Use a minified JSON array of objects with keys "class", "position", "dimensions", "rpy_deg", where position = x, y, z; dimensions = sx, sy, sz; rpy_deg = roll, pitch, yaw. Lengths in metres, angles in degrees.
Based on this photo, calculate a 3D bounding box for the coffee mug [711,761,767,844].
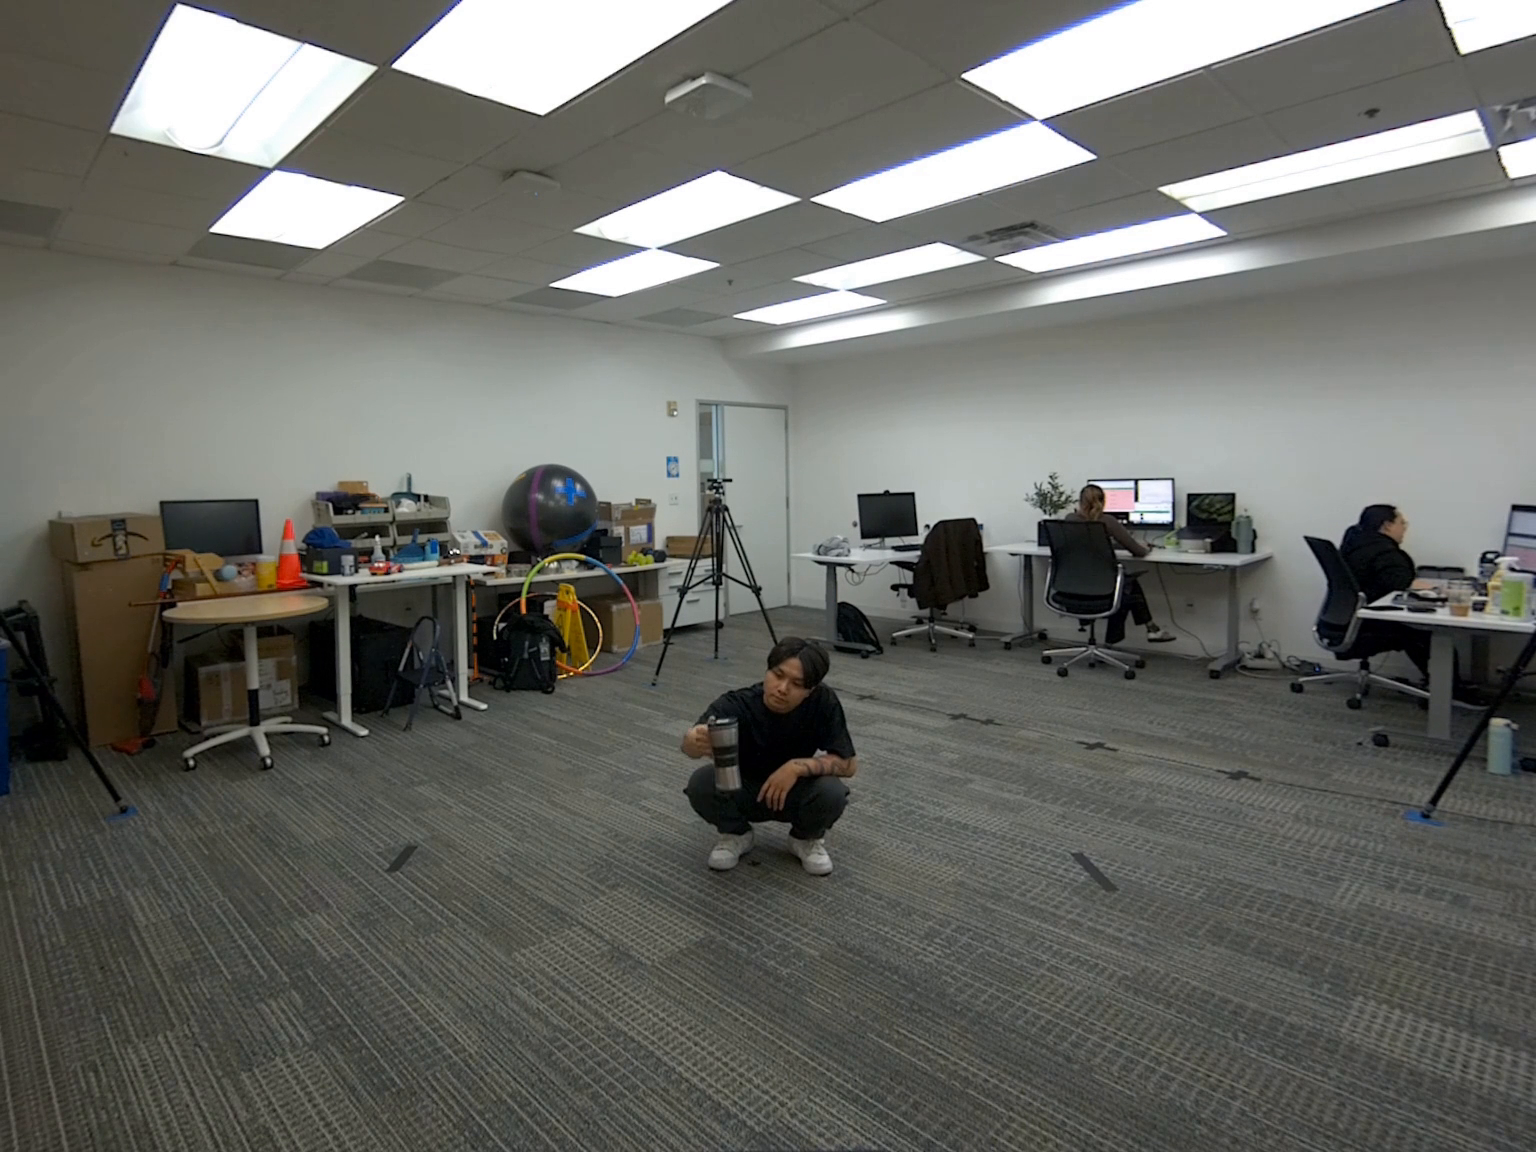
[{"class":"coffee mug","position":[-0.097,0.642,2.431],"dimensions":[0.119,0.204,0.089],"rpy_deg":[-5,-7,-39]}]
